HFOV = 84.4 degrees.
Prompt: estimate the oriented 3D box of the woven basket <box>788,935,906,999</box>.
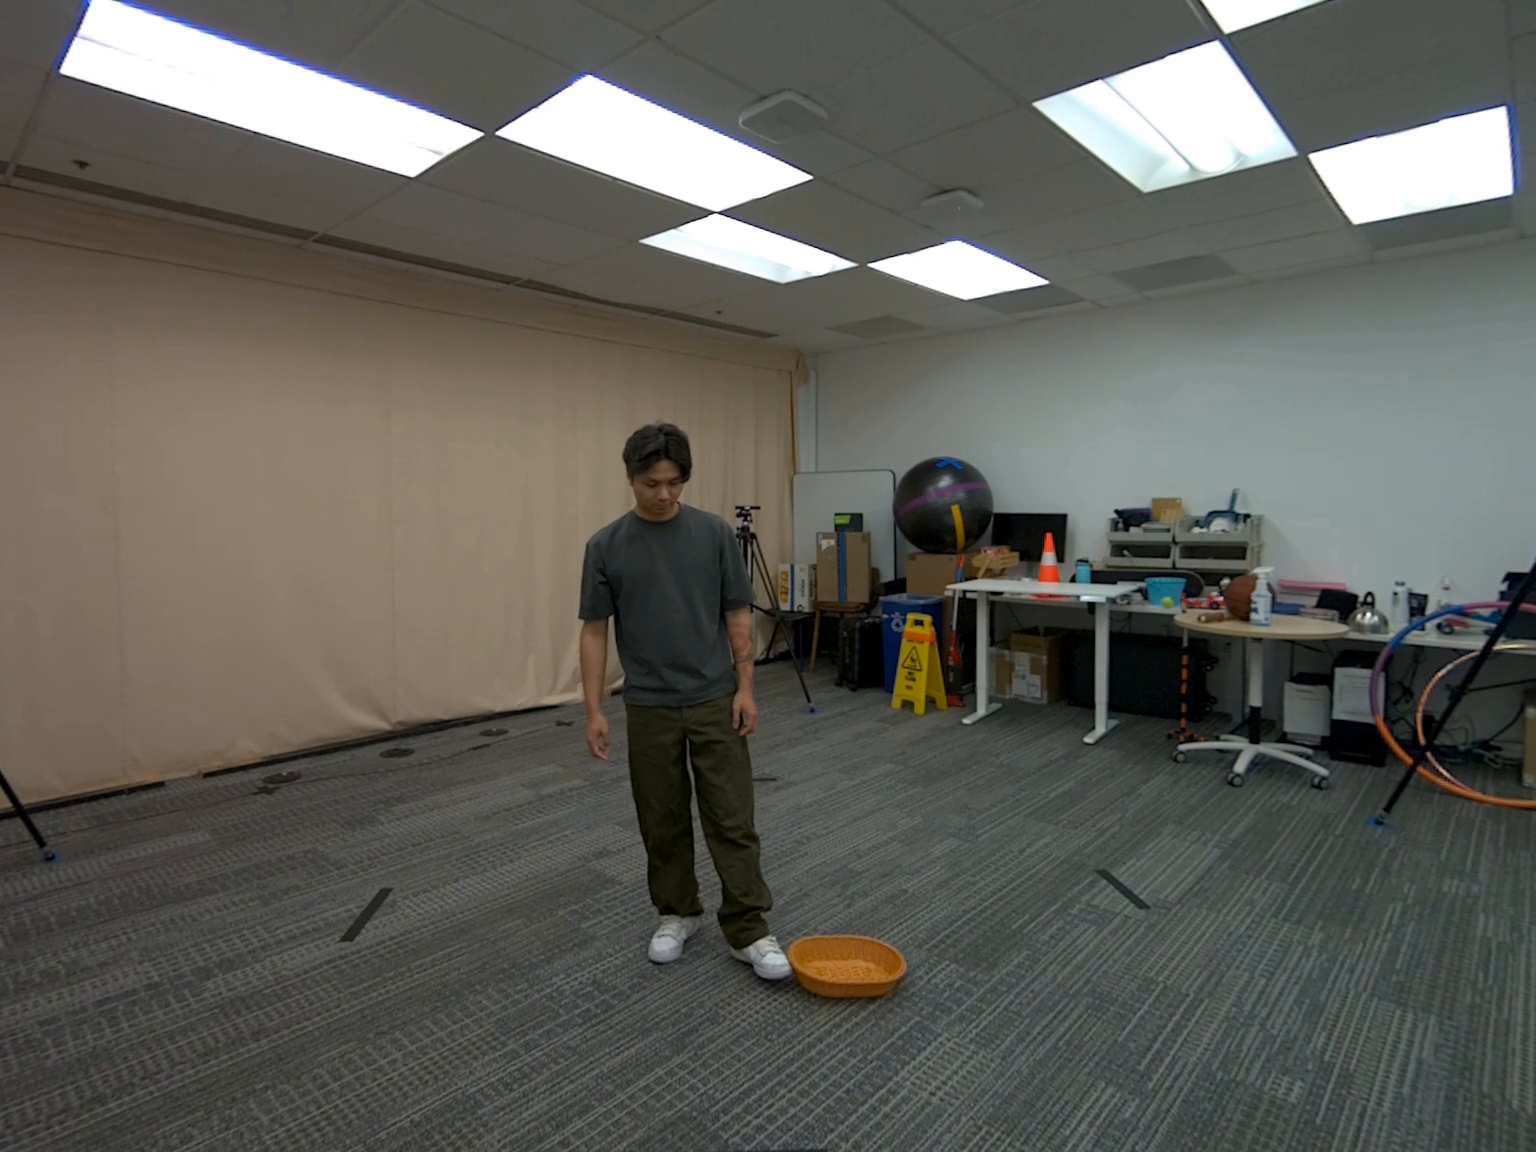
[{"bbox_3d":[0.232,1.145,2.445,0.348,0.073,0.255,2,5,-7],"label":"woven basket"}]
